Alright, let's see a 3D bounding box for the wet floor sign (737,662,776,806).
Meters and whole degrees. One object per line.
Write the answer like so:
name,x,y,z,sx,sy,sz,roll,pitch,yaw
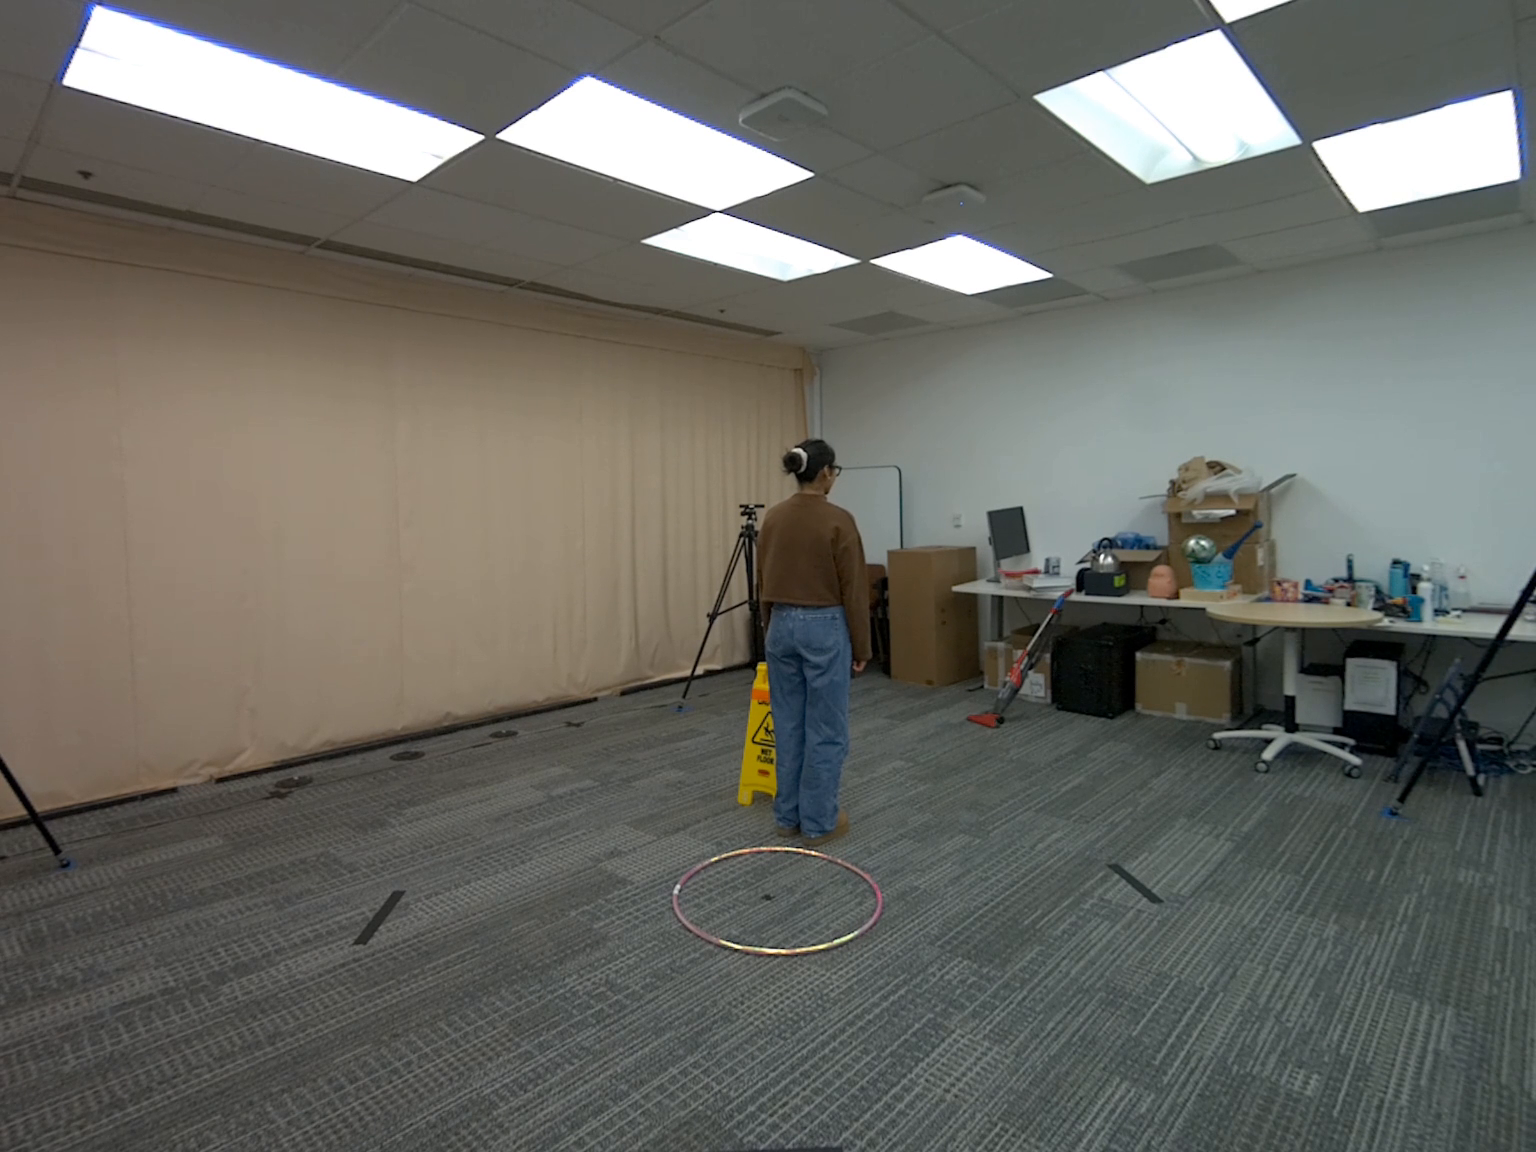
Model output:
wet floor sign,0.041,0.734,3.962,0.291,0.644,0.281,2,4,36
